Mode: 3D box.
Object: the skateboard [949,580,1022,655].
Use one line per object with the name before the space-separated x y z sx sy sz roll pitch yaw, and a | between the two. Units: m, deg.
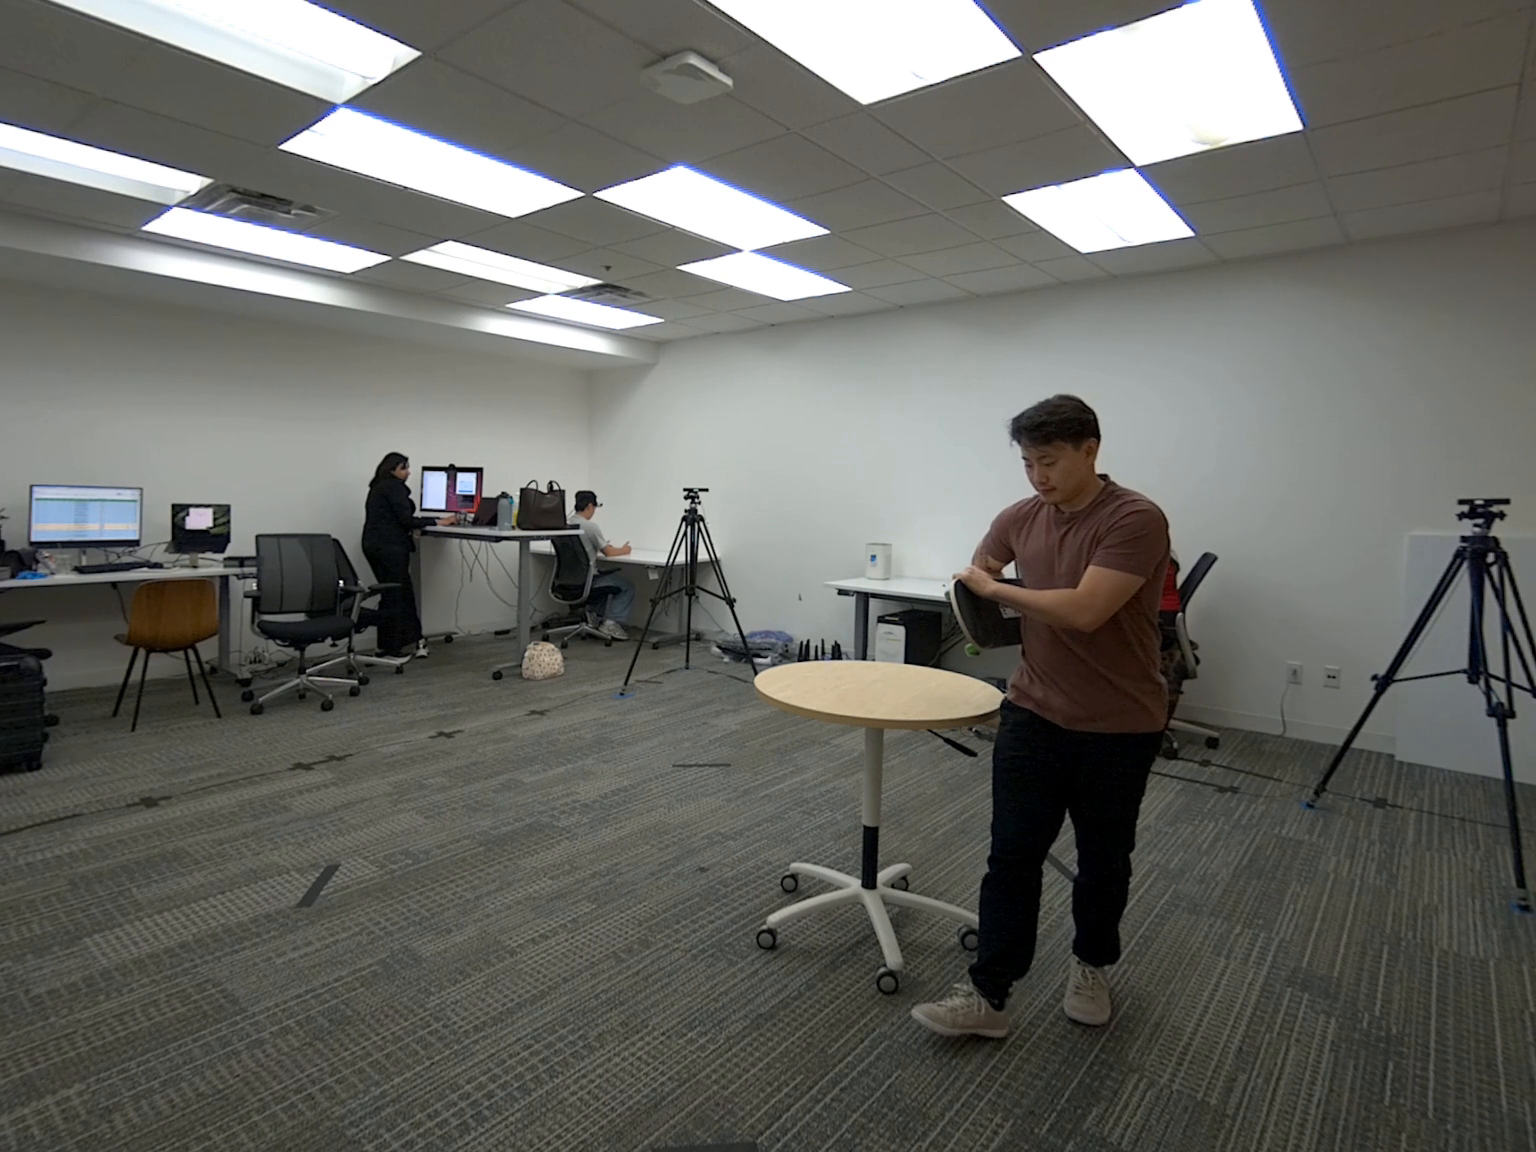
skateboard | 0.650 0.119 2.373 0.112 0.197 0.759 -29 -20 35
